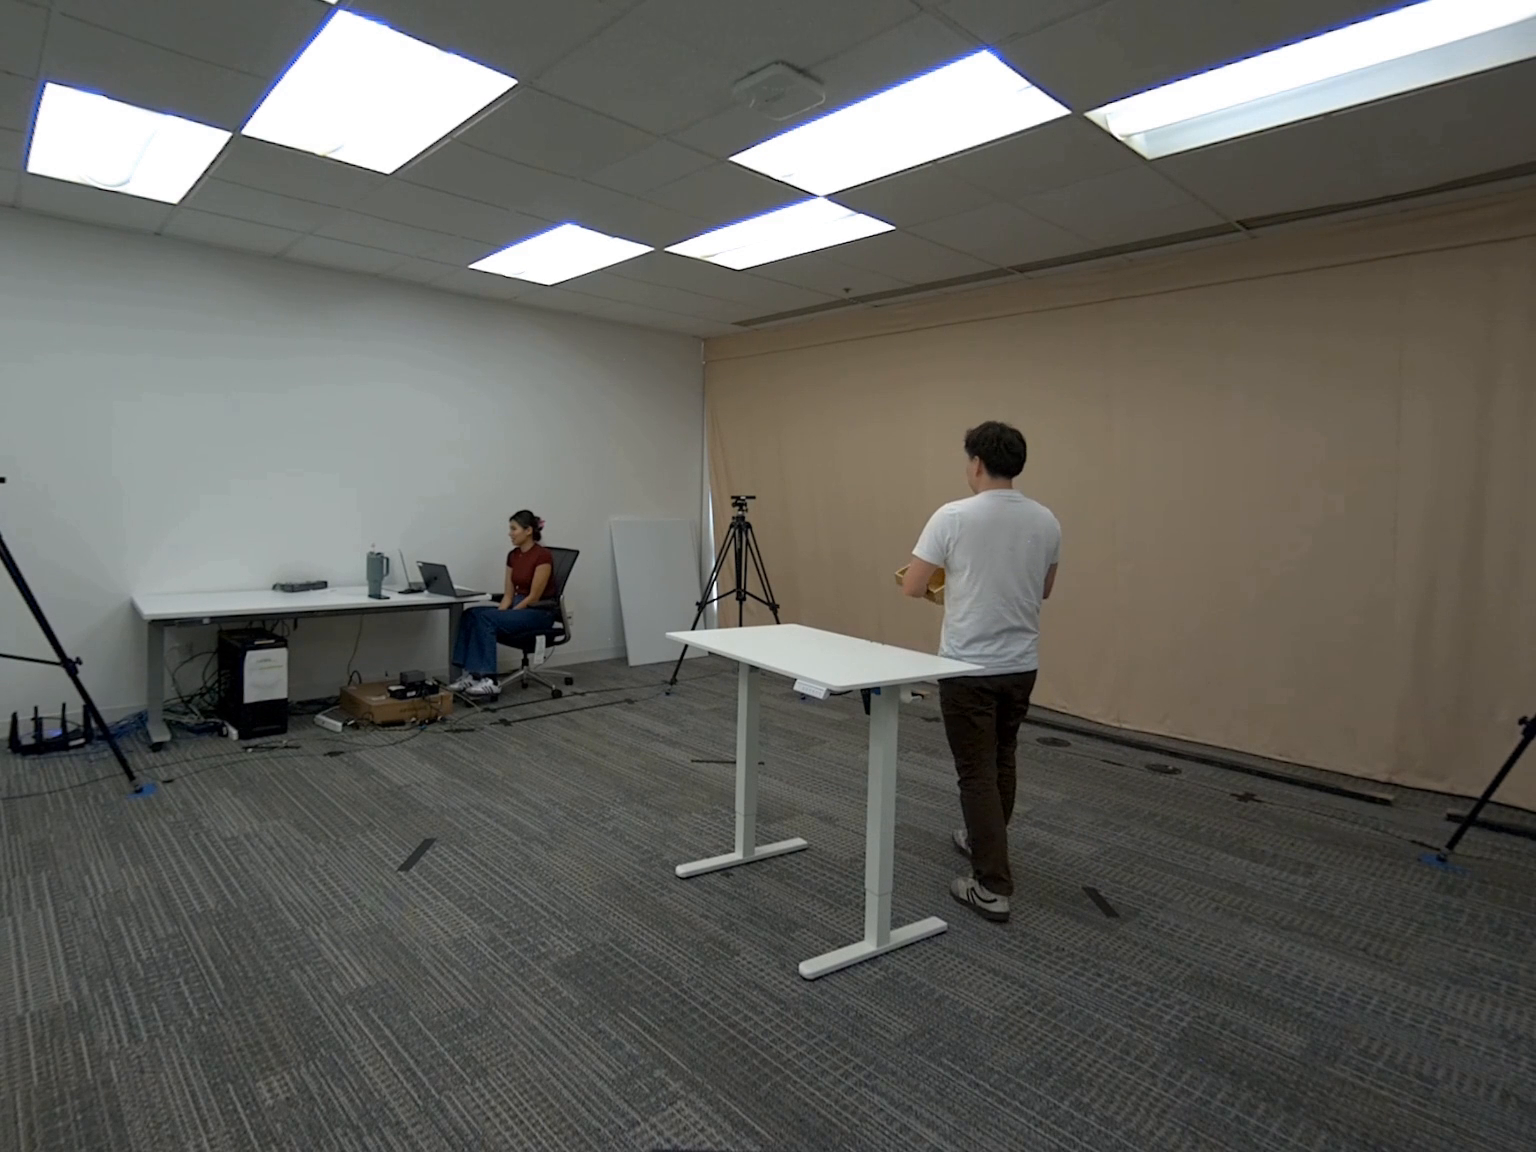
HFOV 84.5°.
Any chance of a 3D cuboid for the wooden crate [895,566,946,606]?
[{"bbox_3d":[0.744,-0.047,3.352,0.297,0.272,0.332,5,10,-22],"label":"wooden crate"}]
